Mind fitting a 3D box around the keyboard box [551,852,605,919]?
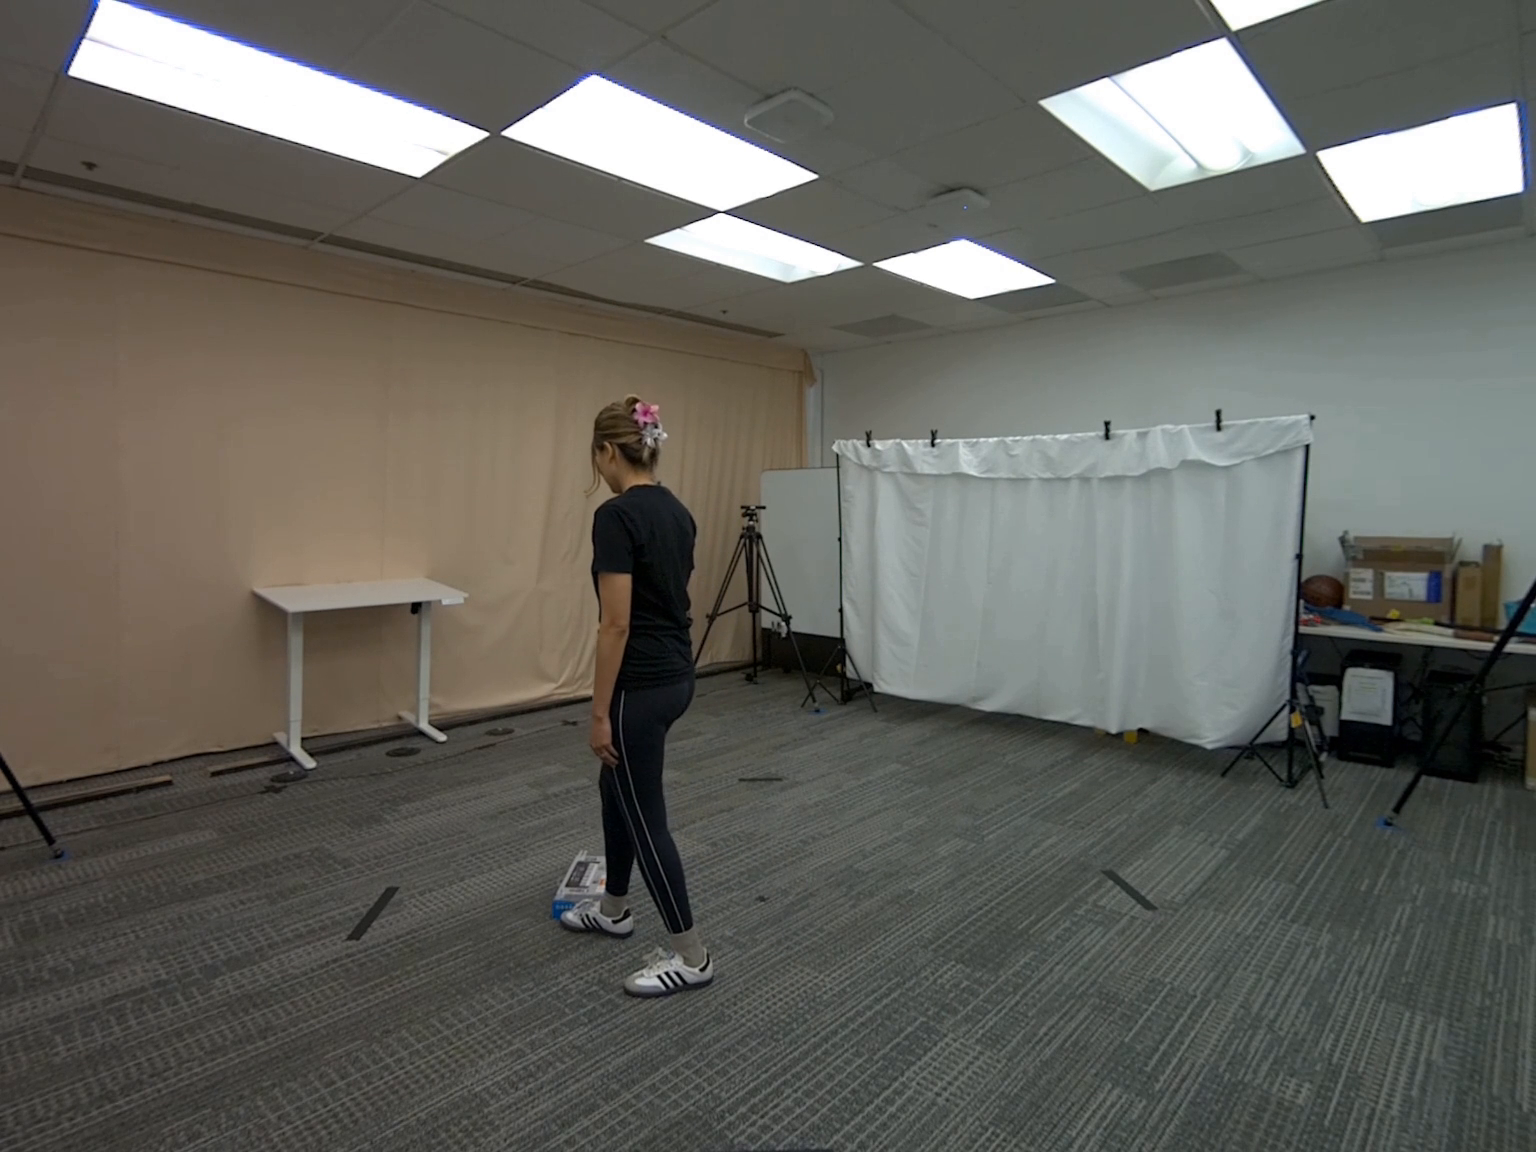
[{"bbox_3d":[-0.647,1.113,3.058,0.176,0.059,0.437,0,5,0],"label":"keyboard box"}]
